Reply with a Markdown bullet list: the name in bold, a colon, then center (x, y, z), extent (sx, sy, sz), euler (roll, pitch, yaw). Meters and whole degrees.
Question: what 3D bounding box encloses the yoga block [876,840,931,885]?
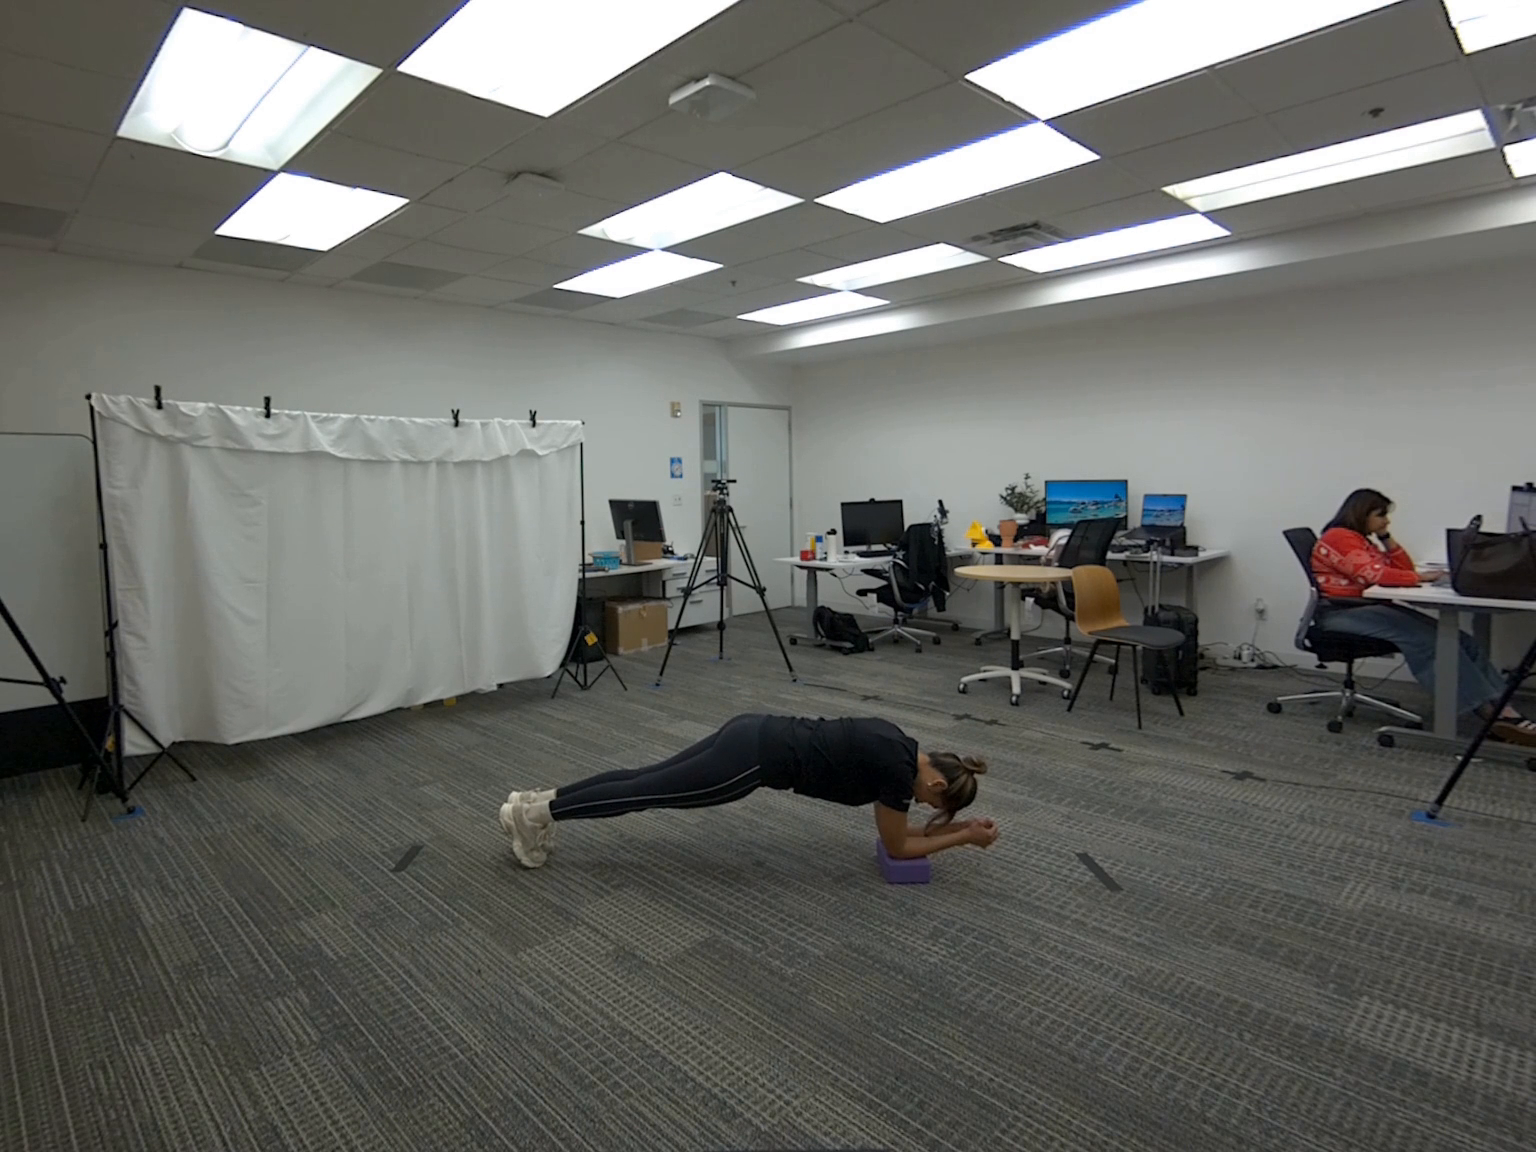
- **yoga block**: center (0.477, 0.999, 3.040), extent (0.149, 0.076, 0.230), euler (2, 7, 0)
